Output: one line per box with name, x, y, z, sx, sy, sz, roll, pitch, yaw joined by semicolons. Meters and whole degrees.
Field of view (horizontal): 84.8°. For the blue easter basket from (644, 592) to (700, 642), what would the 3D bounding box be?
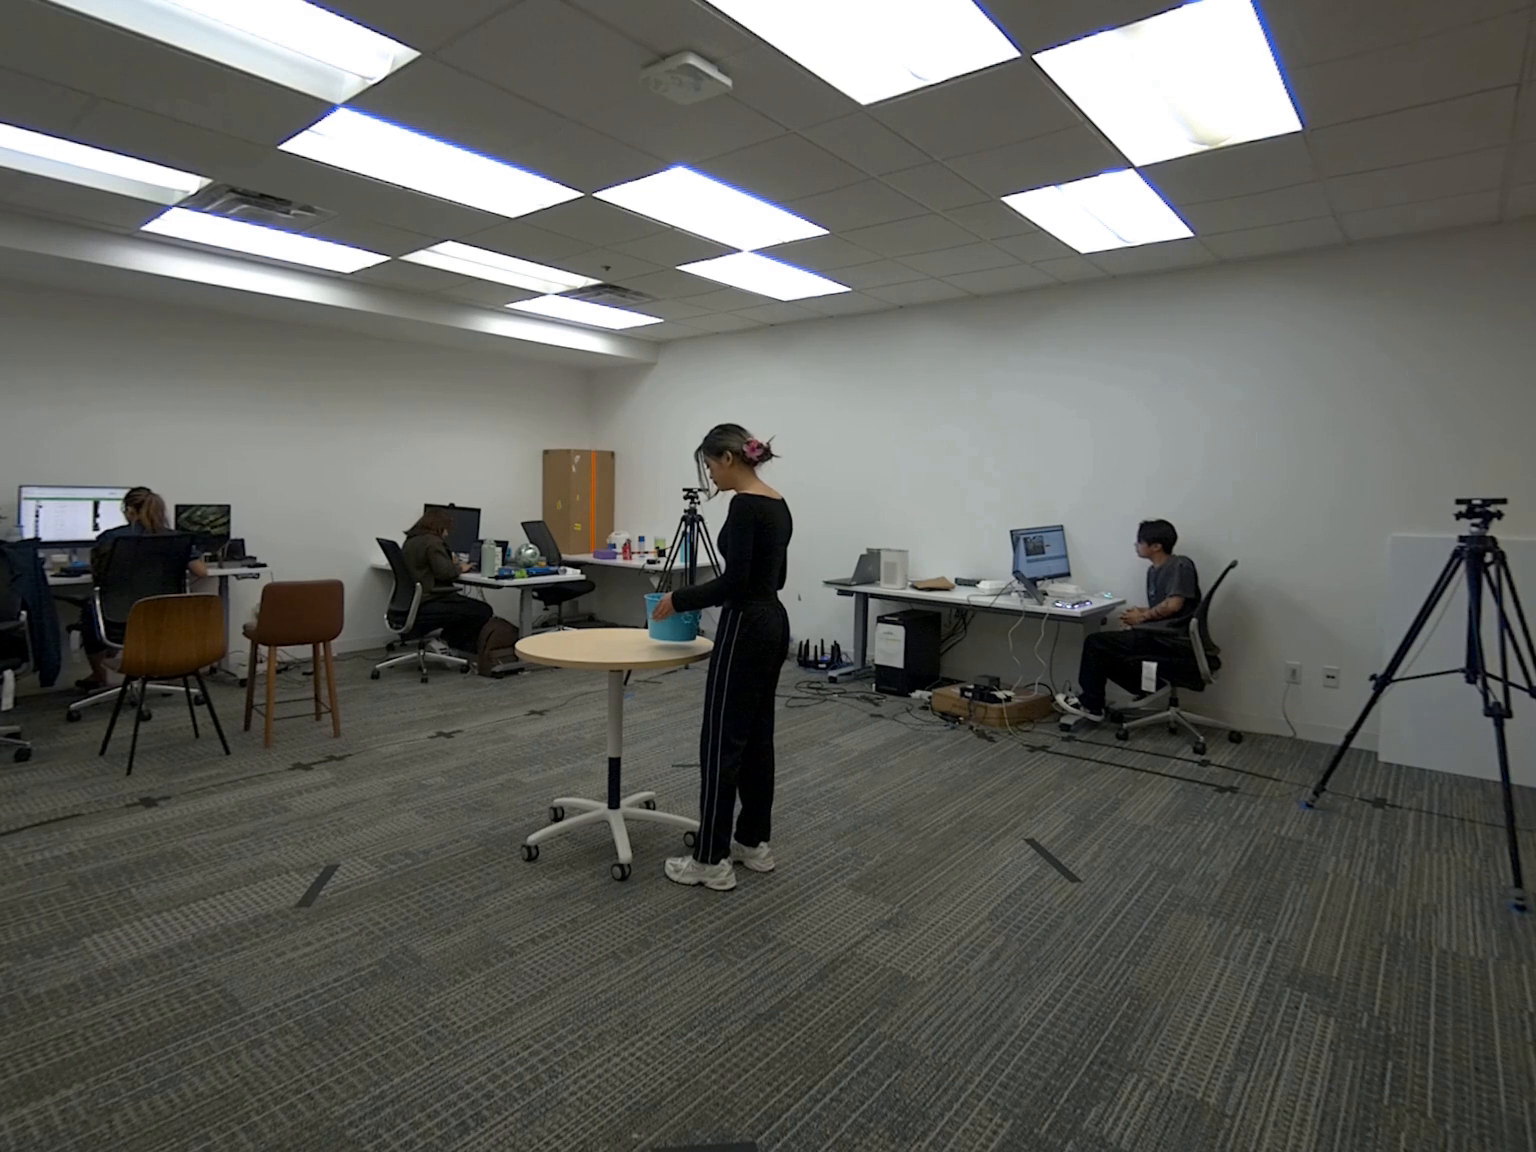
blue easter basket;-0.359;0.160;3.227;0.243;0.155;0.245;3;5;-2
